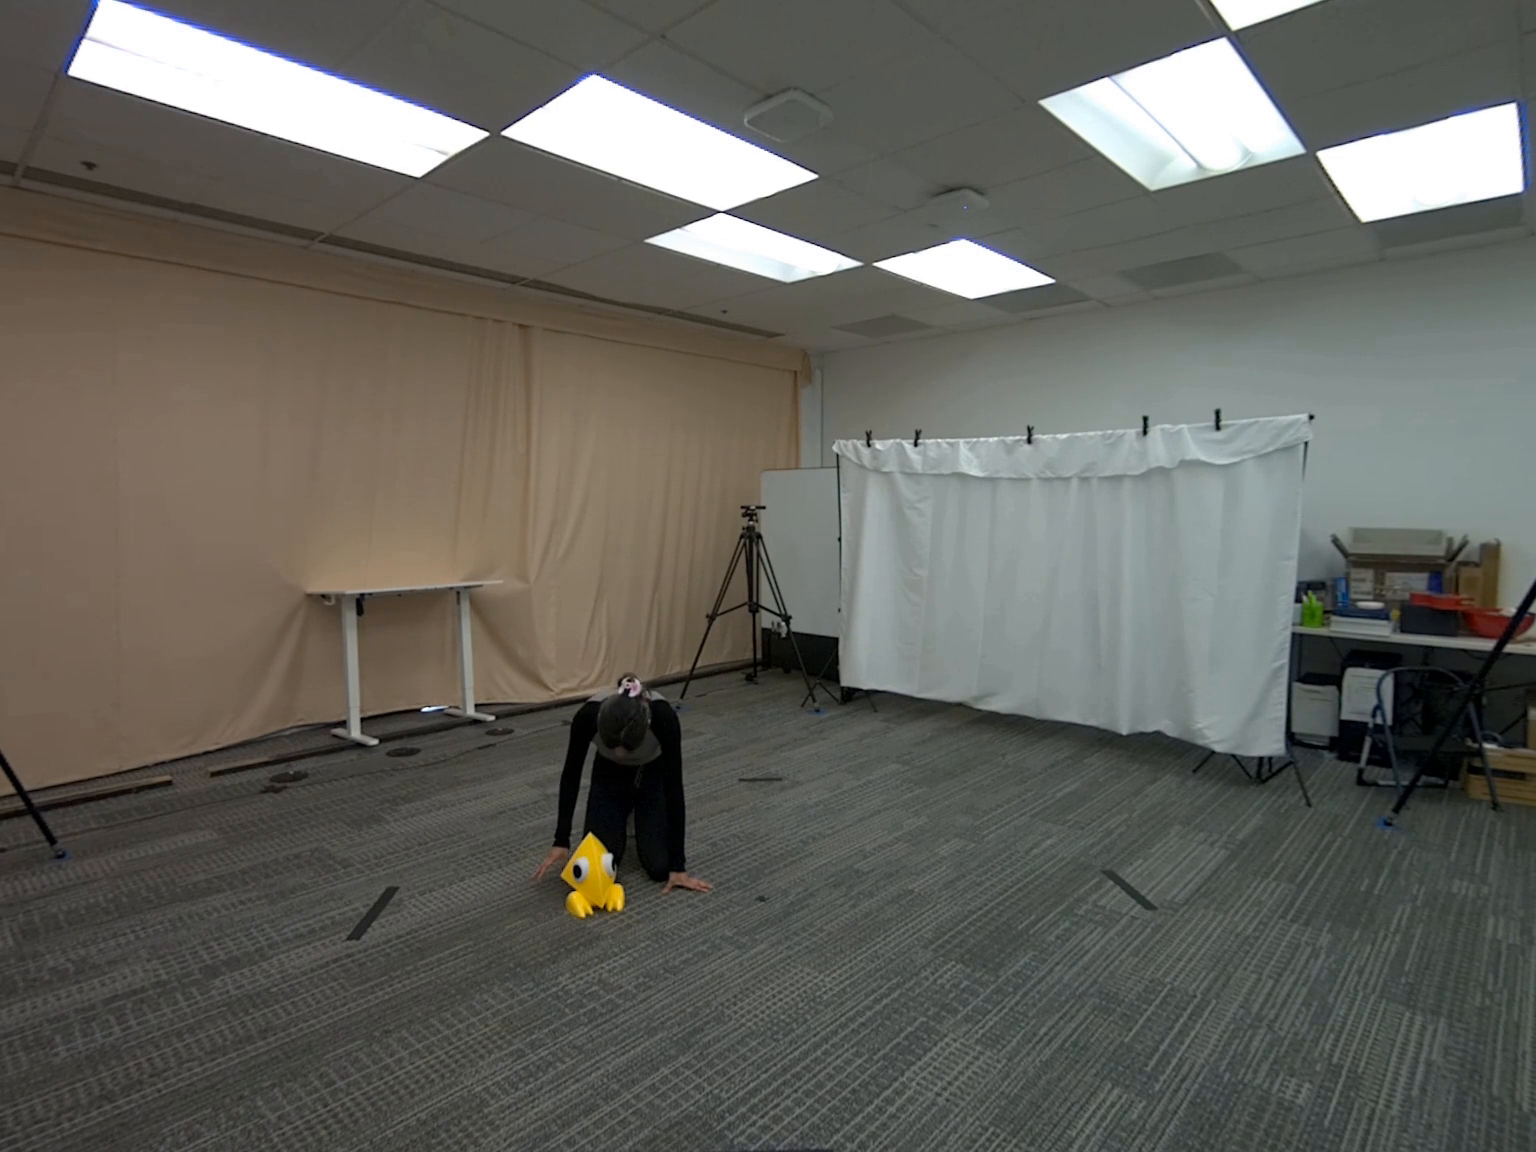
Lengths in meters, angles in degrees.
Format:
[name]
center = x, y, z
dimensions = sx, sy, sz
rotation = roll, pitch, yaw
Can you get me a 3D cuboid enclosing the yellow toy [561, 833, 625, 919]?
[yellow toy]
center = -0.608, 1.032, 2.957
dimensions = 0.200, 0.230, 0.198
rotation = -2, 3, -24
